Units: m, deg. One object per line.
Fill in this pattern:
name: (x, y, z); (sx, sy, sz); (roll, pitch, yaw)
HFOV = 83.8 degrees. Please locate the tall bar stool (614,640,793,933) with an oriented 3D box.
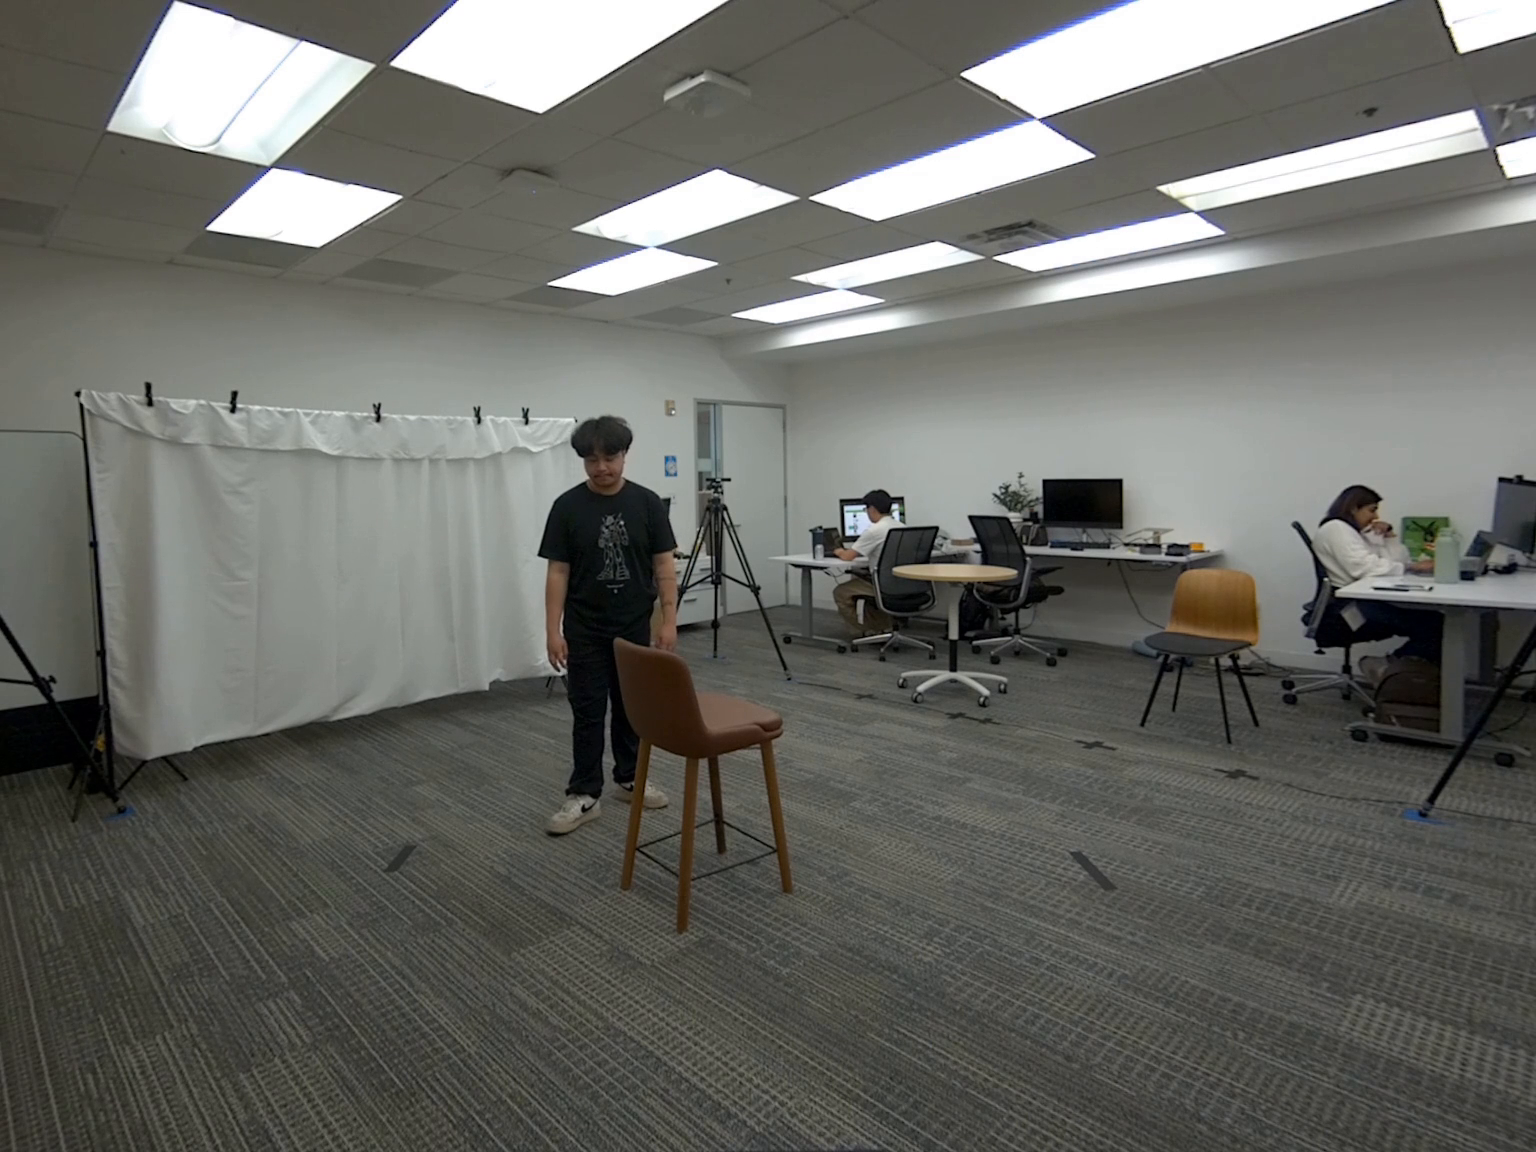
tall bar stool: (-0.223, 0.636, 2.881); (0.456, 0.885, 0.470); (-6, 7, -37)
